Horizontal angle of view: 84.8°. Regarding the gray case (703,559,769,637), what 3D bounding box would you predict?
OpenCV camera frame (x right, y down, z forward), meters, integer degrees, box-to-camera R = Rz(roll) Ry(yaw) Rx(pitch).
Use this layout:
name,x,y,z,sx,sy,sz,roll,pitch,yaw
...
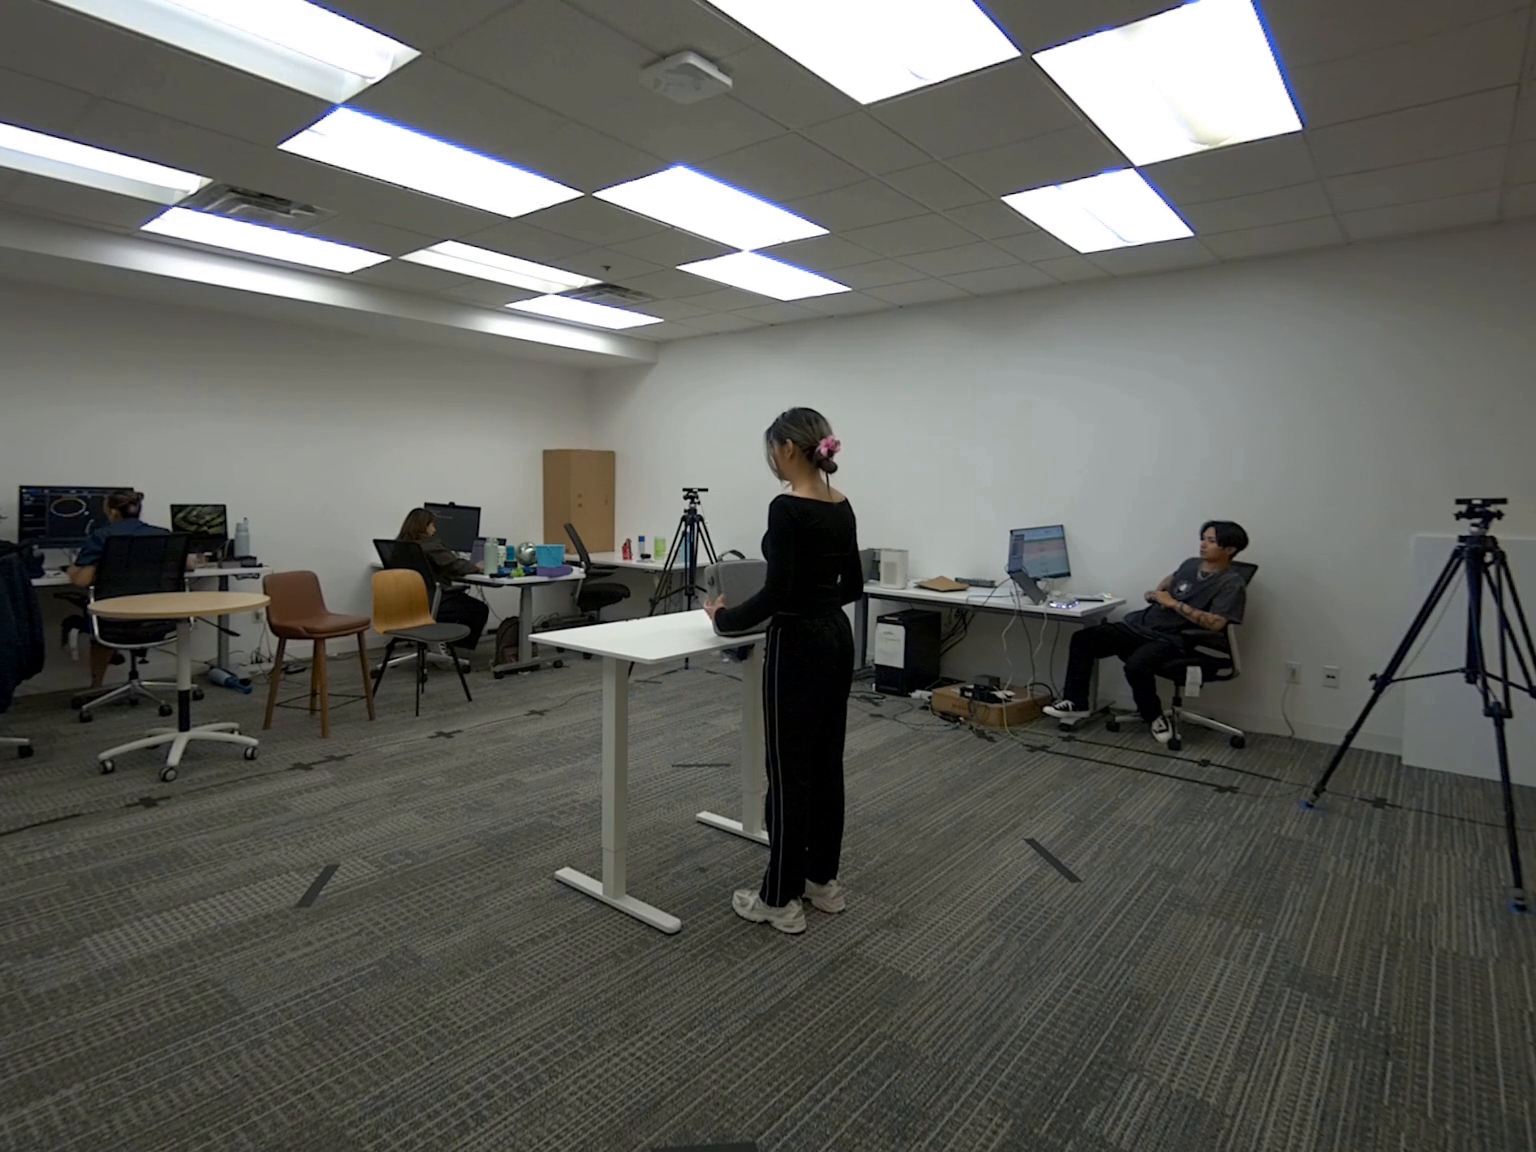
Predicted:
name,x,y,z,sx,sy,sz,roll,pitch,yaw
gray case,-0.098,0.067,2.993,0.249,0.263,0.107,-3,-8,-41
